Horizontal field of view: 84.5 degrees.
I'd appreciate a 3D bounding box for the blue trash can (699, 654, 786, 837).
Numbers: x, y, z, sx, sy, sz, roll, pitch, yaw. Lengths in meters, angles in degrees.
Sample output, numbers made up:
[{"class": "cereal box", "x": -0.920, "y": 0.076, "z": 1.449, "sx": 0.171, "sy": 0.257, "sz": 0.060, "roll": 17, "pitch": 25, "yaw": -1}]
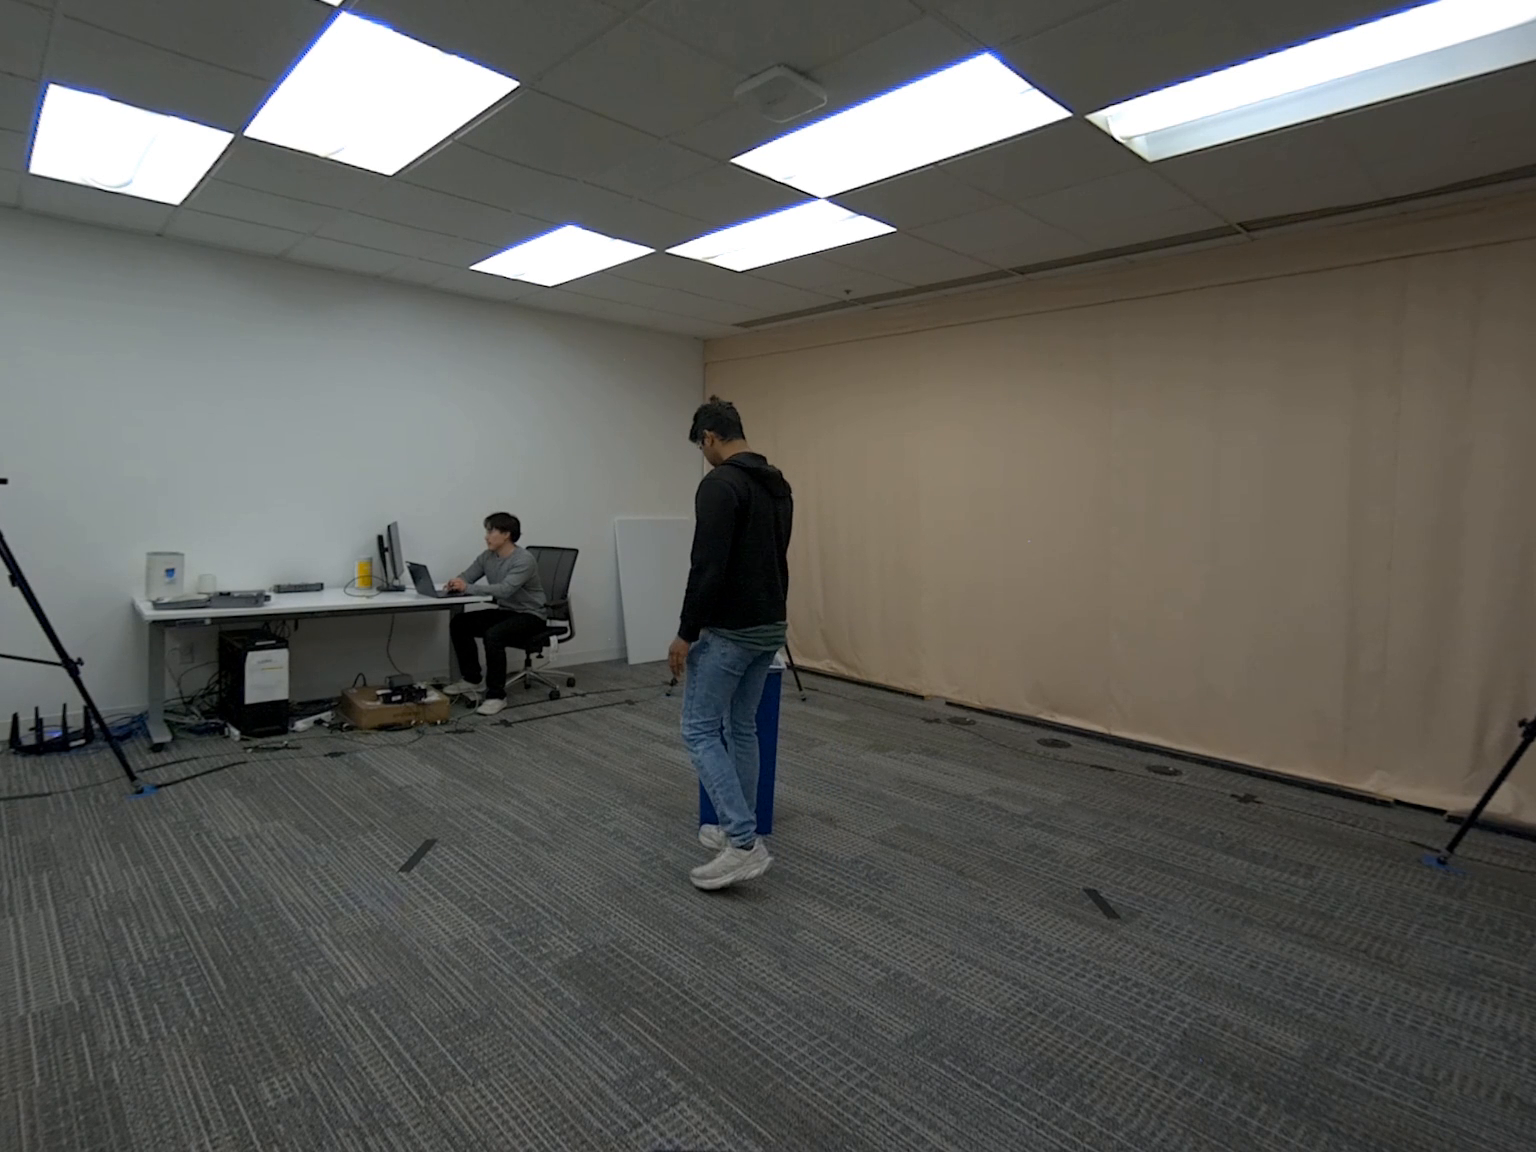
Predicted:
[{"class": "blue trash can", "x": -0.134, "y": 0.704, "z": 3.622, "sx": 0.376, "sy": 0.712, "sz": 0.376, "roll": 2, "pitch": 3, "yaw": -5}]
